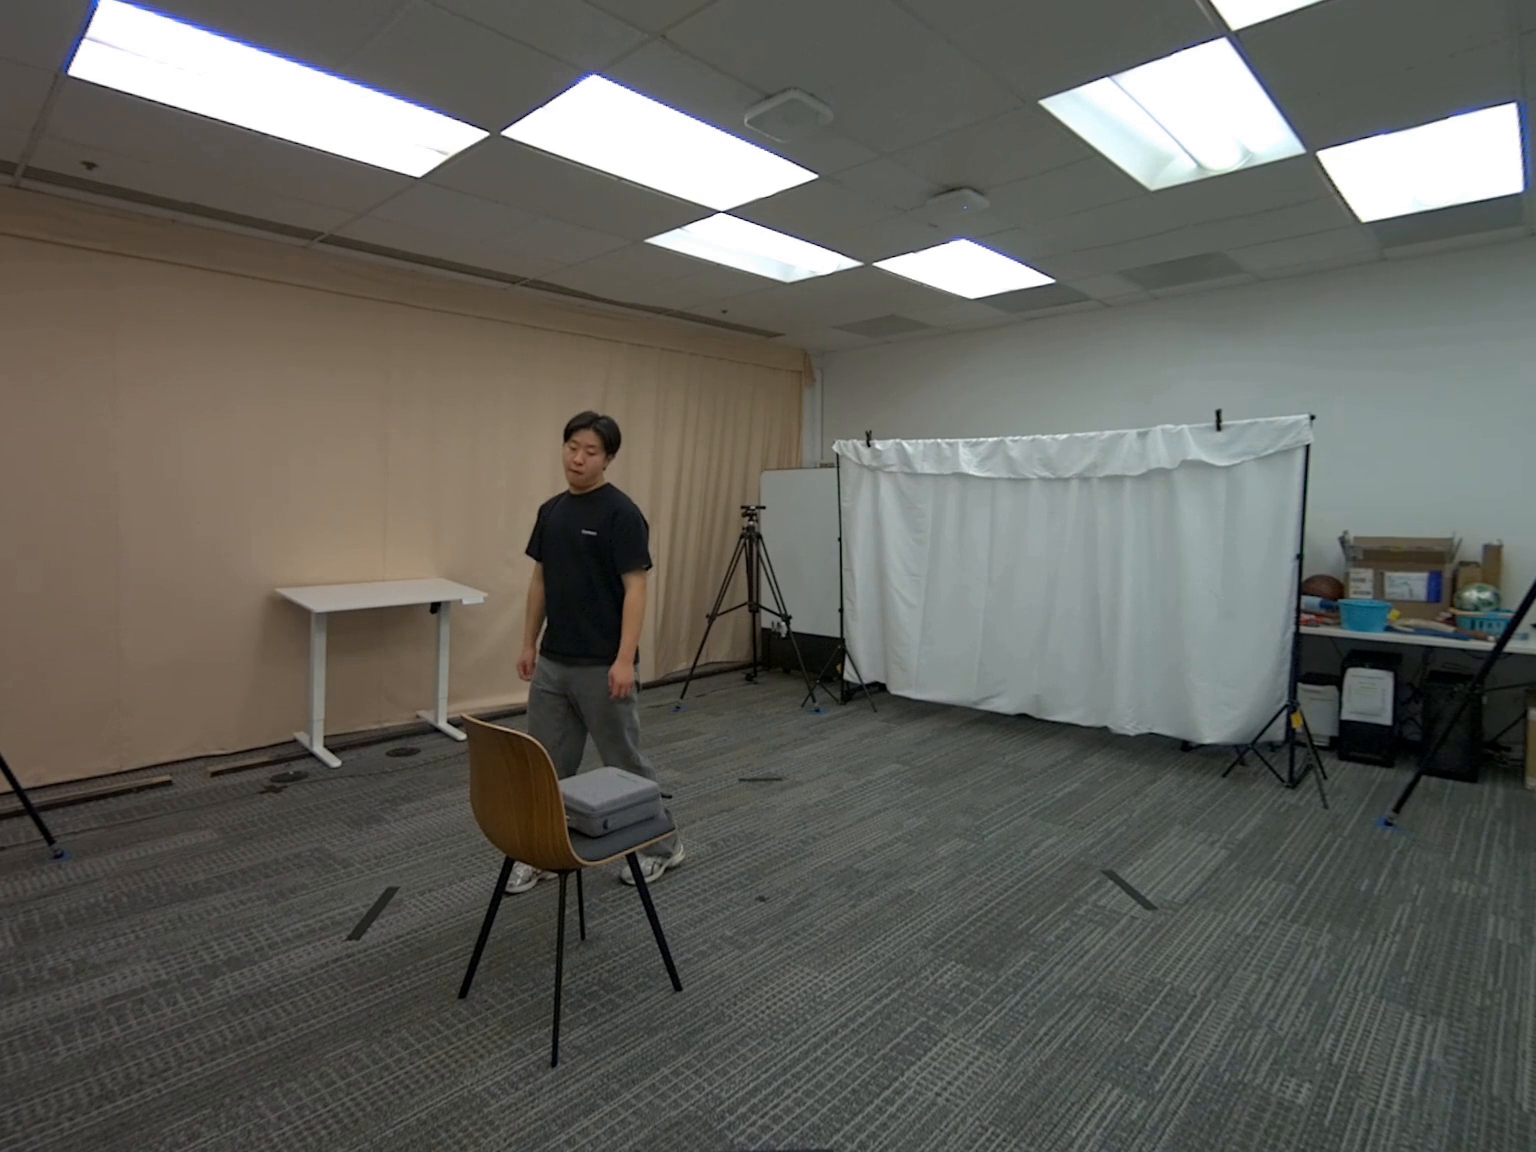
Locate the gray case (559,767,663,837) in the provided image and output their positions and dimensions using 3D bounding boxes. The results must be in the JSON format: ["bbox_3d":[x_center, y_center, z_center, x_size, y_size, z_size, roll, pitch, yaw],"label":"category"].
[{"bbox_3d":[-0.483,0.653,2.454,0.272,0.103,0.278,4,8,43],"label":"gray case"}]
